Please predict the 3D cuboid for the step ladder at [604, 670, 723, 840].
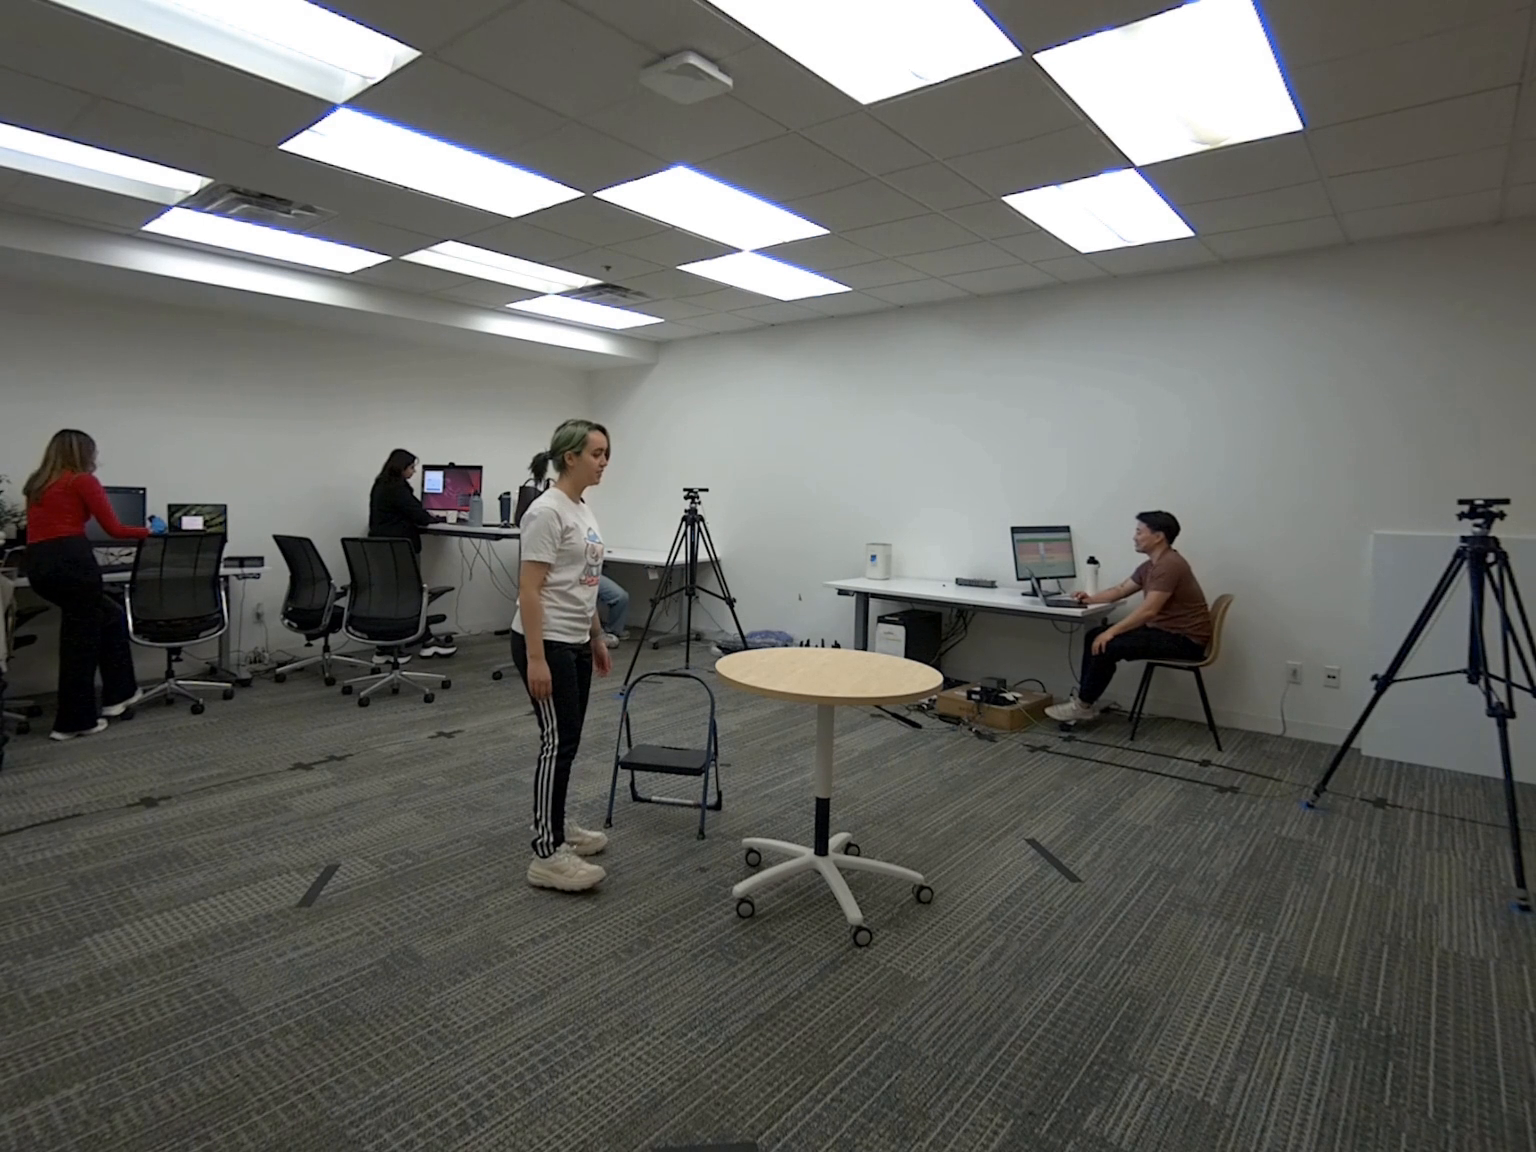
[{"bbox_3d":[-0.435,0.717,3.577,0.437,0.604,0.345,2,4,13],"label":"step ladder"}]
